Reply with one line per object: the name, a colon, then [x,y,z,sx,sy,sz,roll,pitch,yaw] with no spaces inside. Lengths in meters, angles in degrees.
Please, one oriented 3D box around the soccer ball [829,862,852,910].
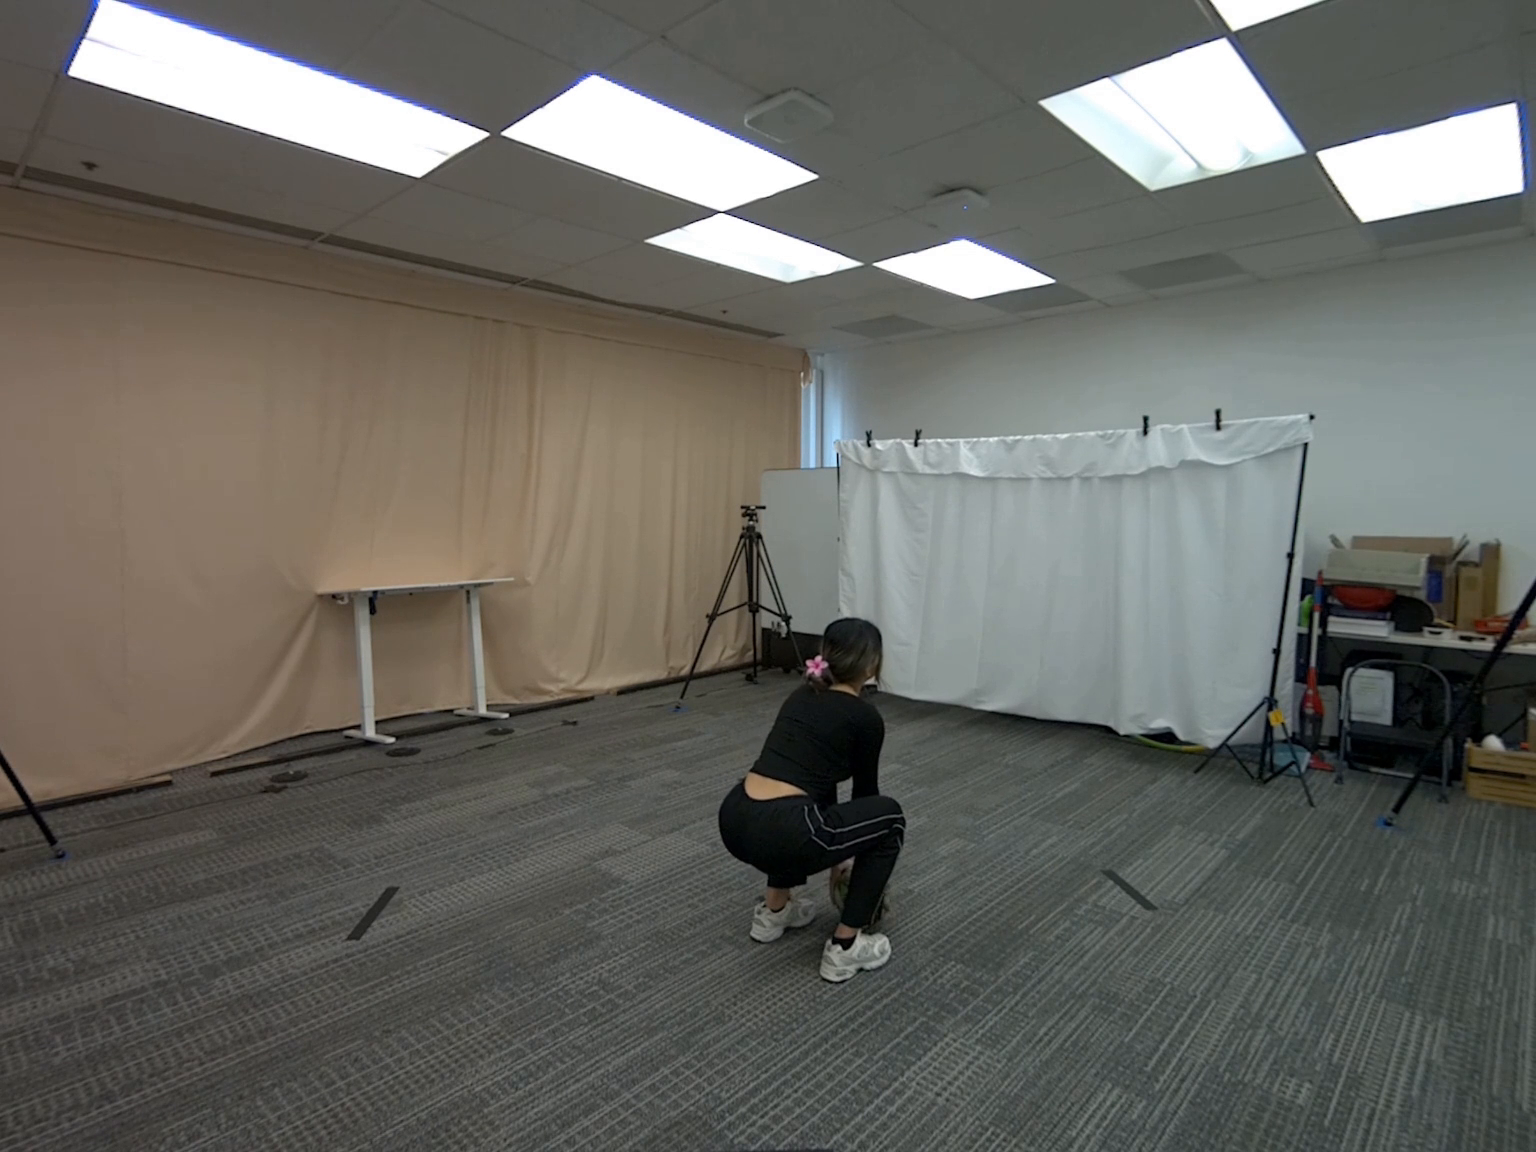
soccer ball: [0.318,1.062,2.792,0.187,0.187,0.188,0,4,-2]
